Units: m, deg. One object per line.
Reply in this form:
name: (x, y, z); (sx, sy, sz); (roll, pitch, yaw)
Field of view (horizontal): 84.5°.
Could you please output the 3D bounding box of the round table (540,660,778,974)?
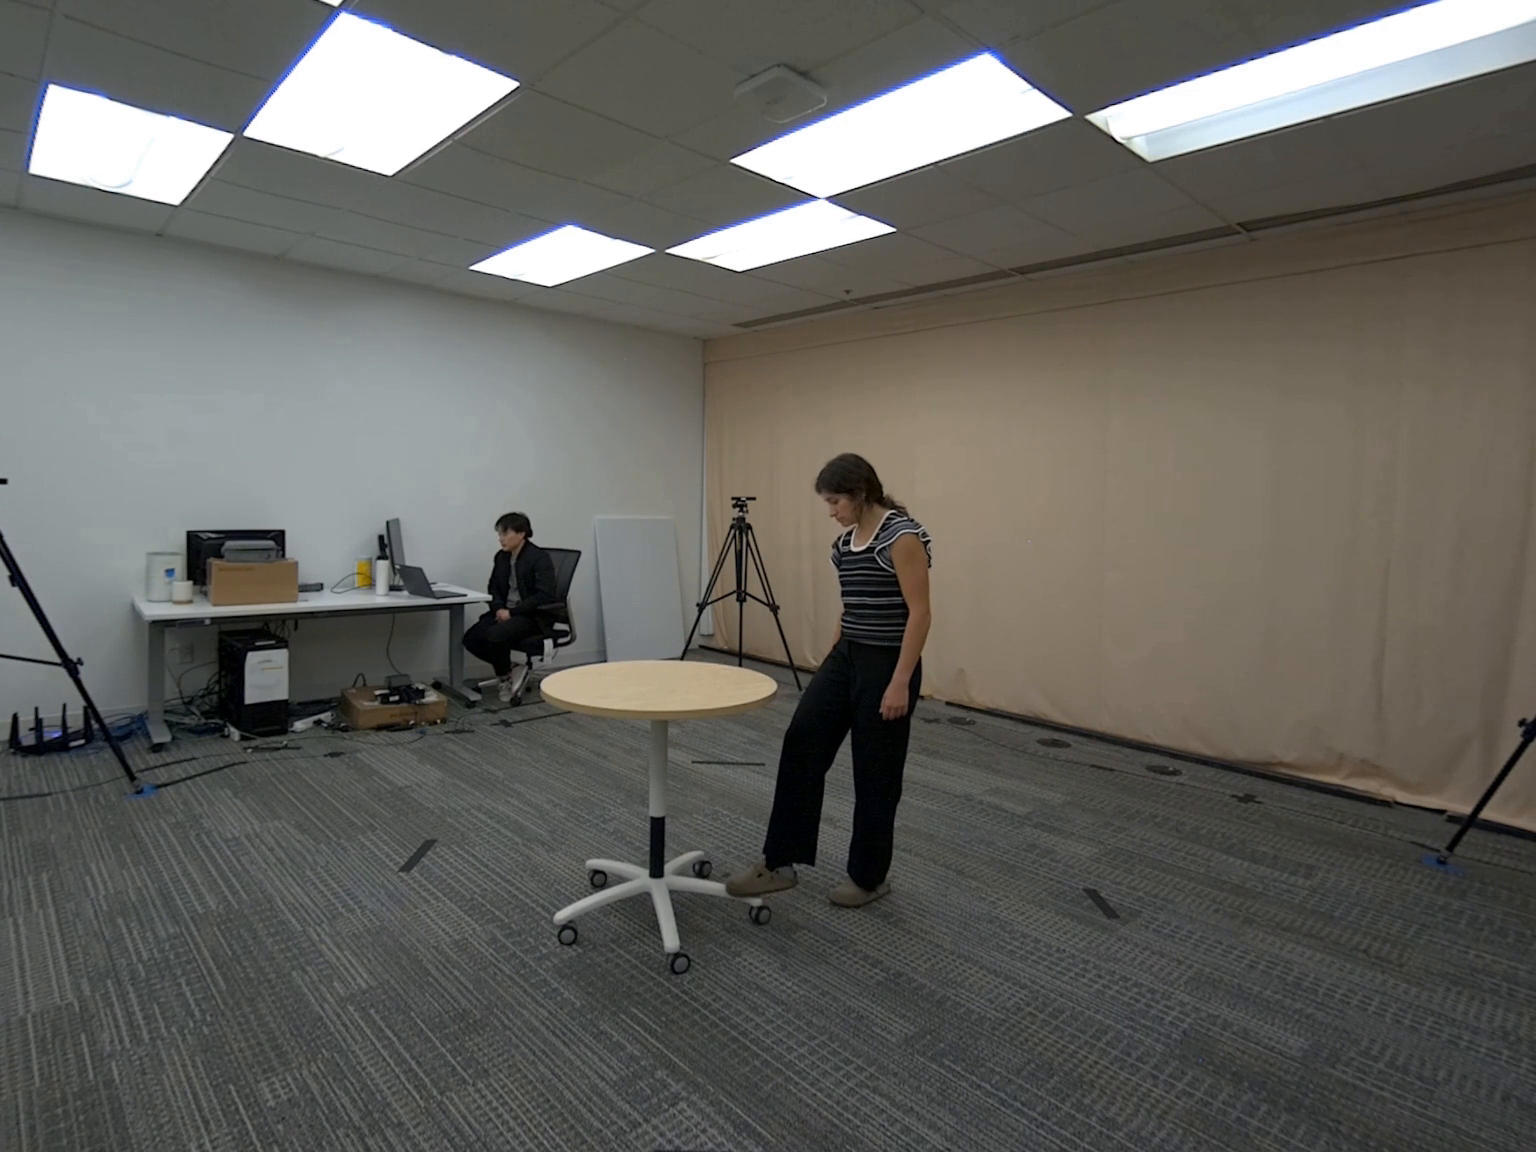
round table: (-0.358, 0.739, 2.752); (0.784, 0.785, 0.787); (1, 4, -1)
